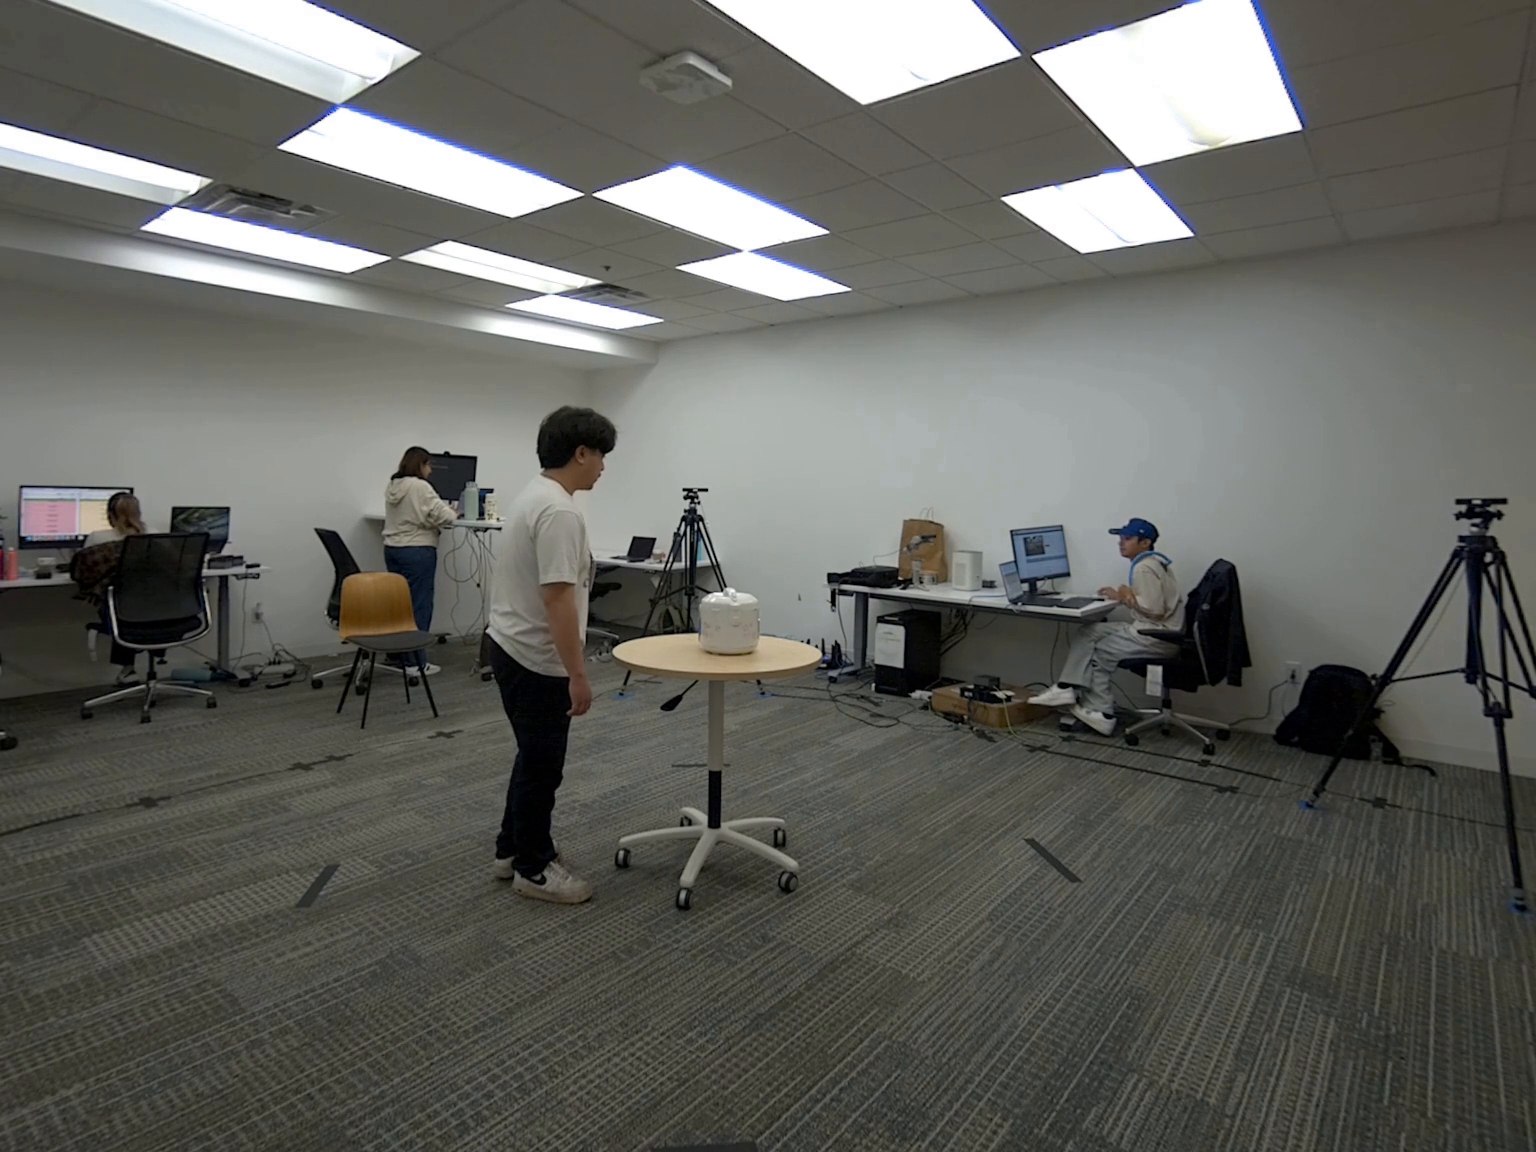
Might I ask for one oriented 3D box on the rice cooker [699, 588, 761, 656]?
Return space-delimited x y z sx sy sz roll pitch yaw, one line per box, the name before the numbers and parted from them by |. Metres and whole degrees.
rice cooker | -0.149 0.158 3.110 0.215 0.232 0.224 0 5 -11
